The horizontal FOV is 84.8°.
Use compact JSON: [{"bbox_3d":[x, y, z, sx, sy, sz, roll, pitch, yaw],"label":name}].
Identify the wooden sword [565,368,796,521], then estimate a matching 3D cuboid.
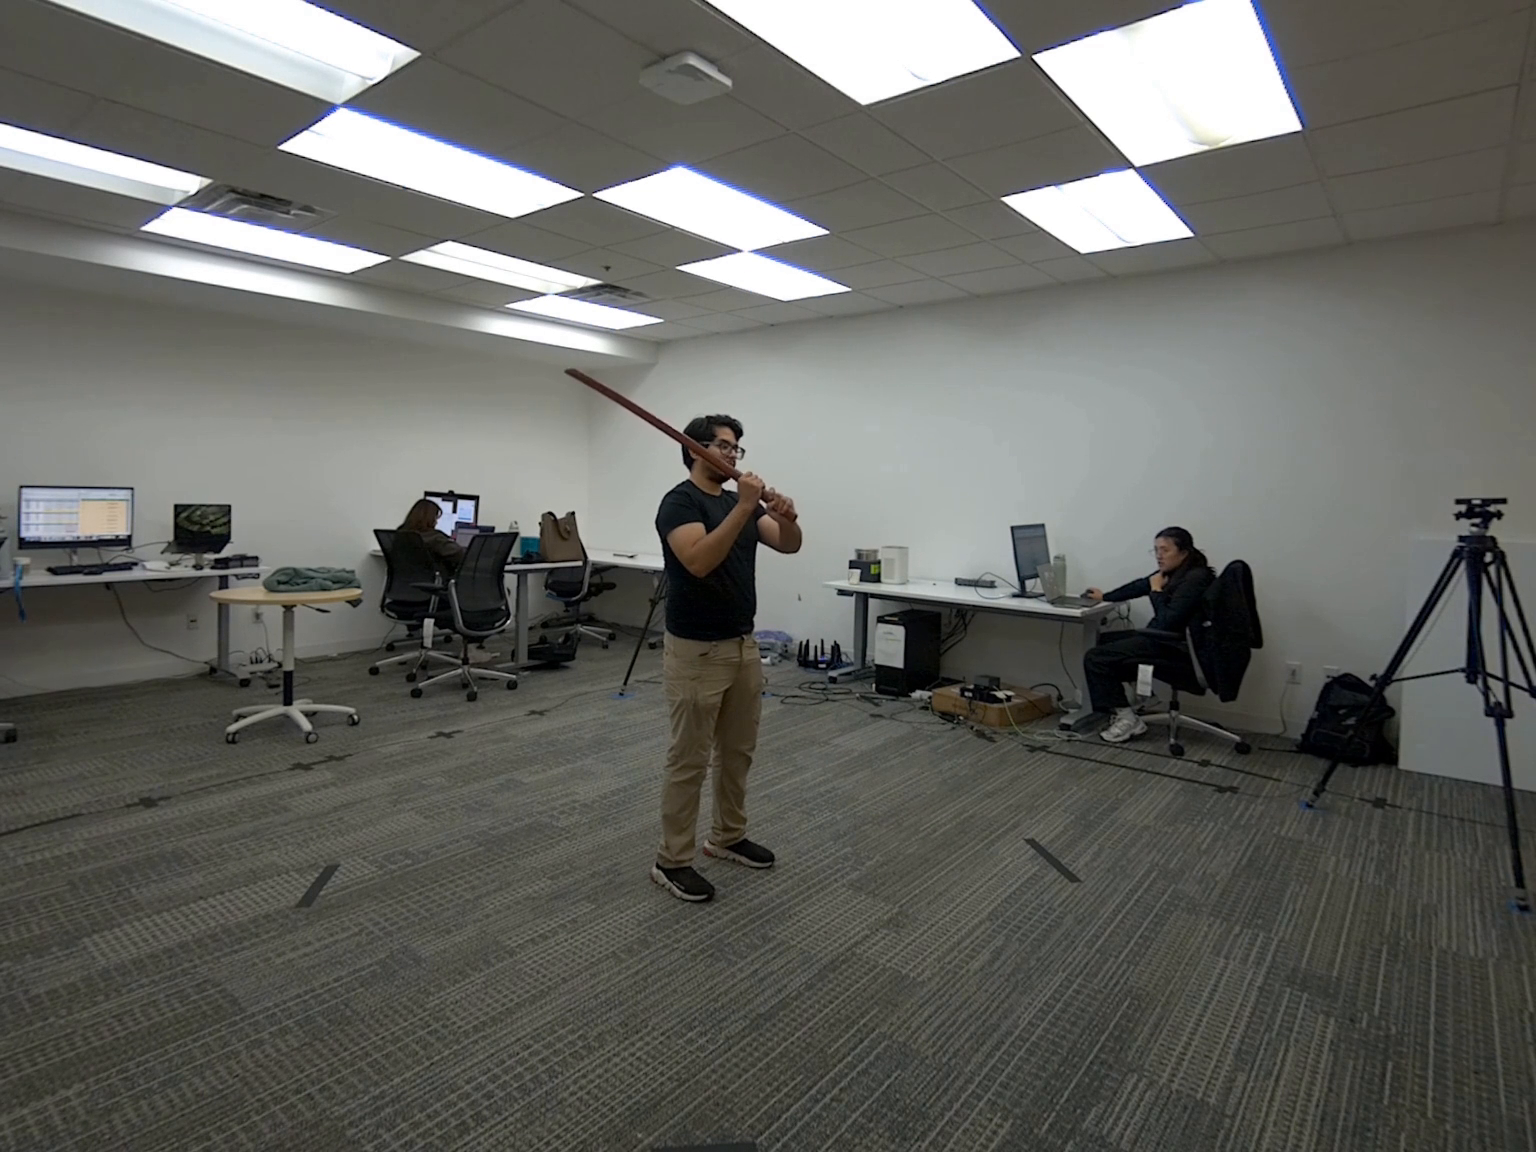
[{"bbox_3d":[-0.312,-0.478,2.878,1.056,0.050,0.024,35,35,22],"label":"wooden sword"}]
